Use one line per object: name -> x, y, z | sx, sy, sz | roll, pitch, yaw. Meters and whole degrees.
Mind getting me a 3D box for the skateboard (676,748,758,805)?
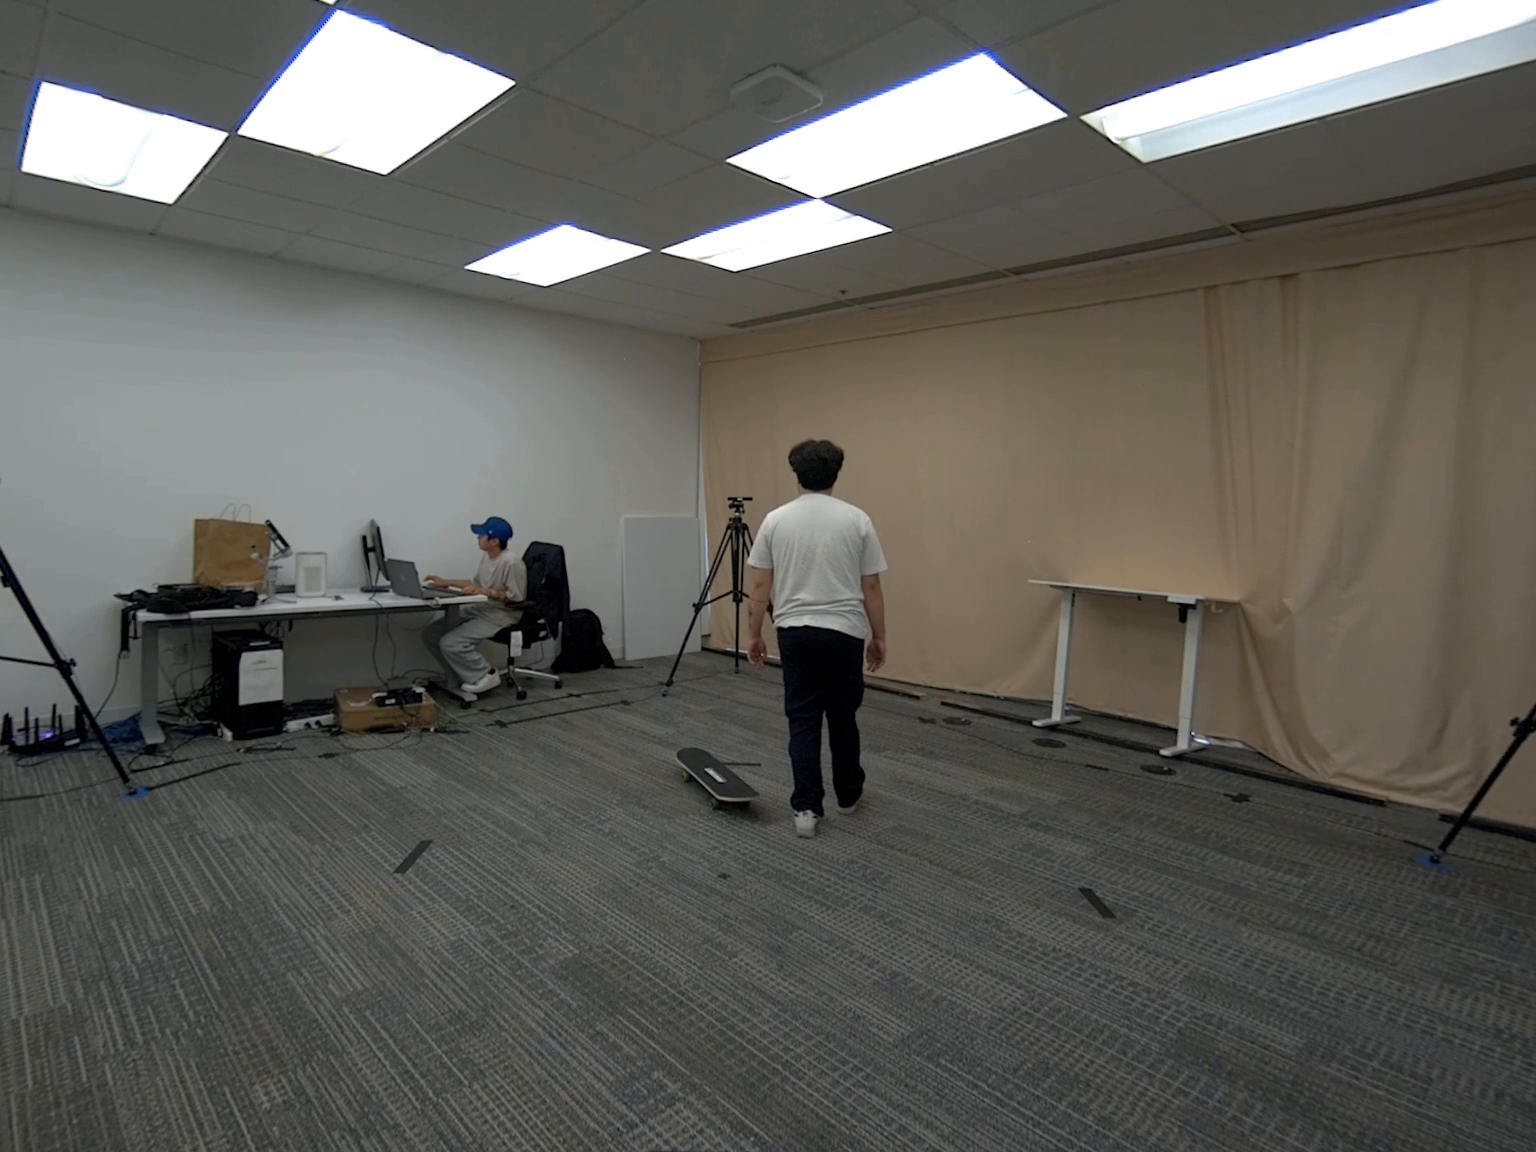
skateboard -> -0.264, 0.973, 3.989 | 0.190, 0.110, 0.801 | -1, 6, -24
